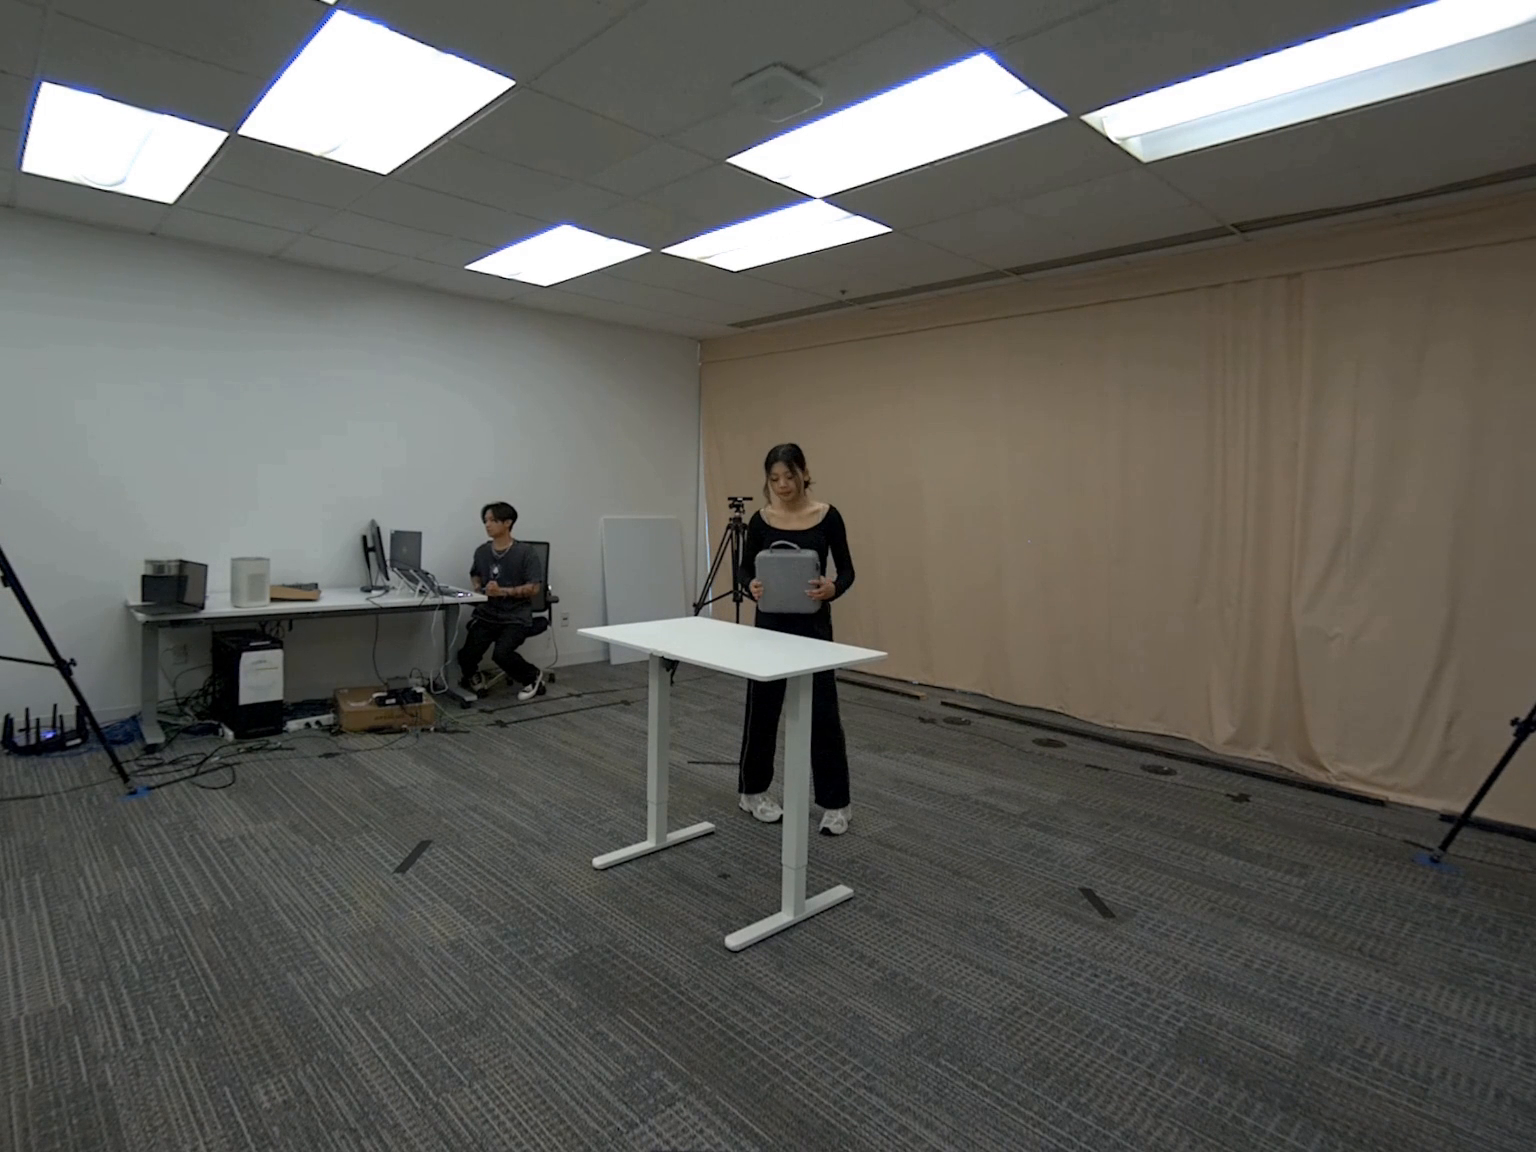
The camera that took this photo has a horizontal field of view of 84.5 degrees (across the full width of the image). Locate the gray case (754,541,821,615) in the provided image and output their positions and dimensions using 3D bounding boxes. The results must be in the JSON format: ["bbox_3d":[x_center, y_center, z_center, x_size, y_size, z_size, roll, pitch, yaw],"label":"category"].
[{"bbox_3d":[0.077,0.018,3.415,0.260,0.258,0.104,-1,14,17],"label":"gray case"}]
